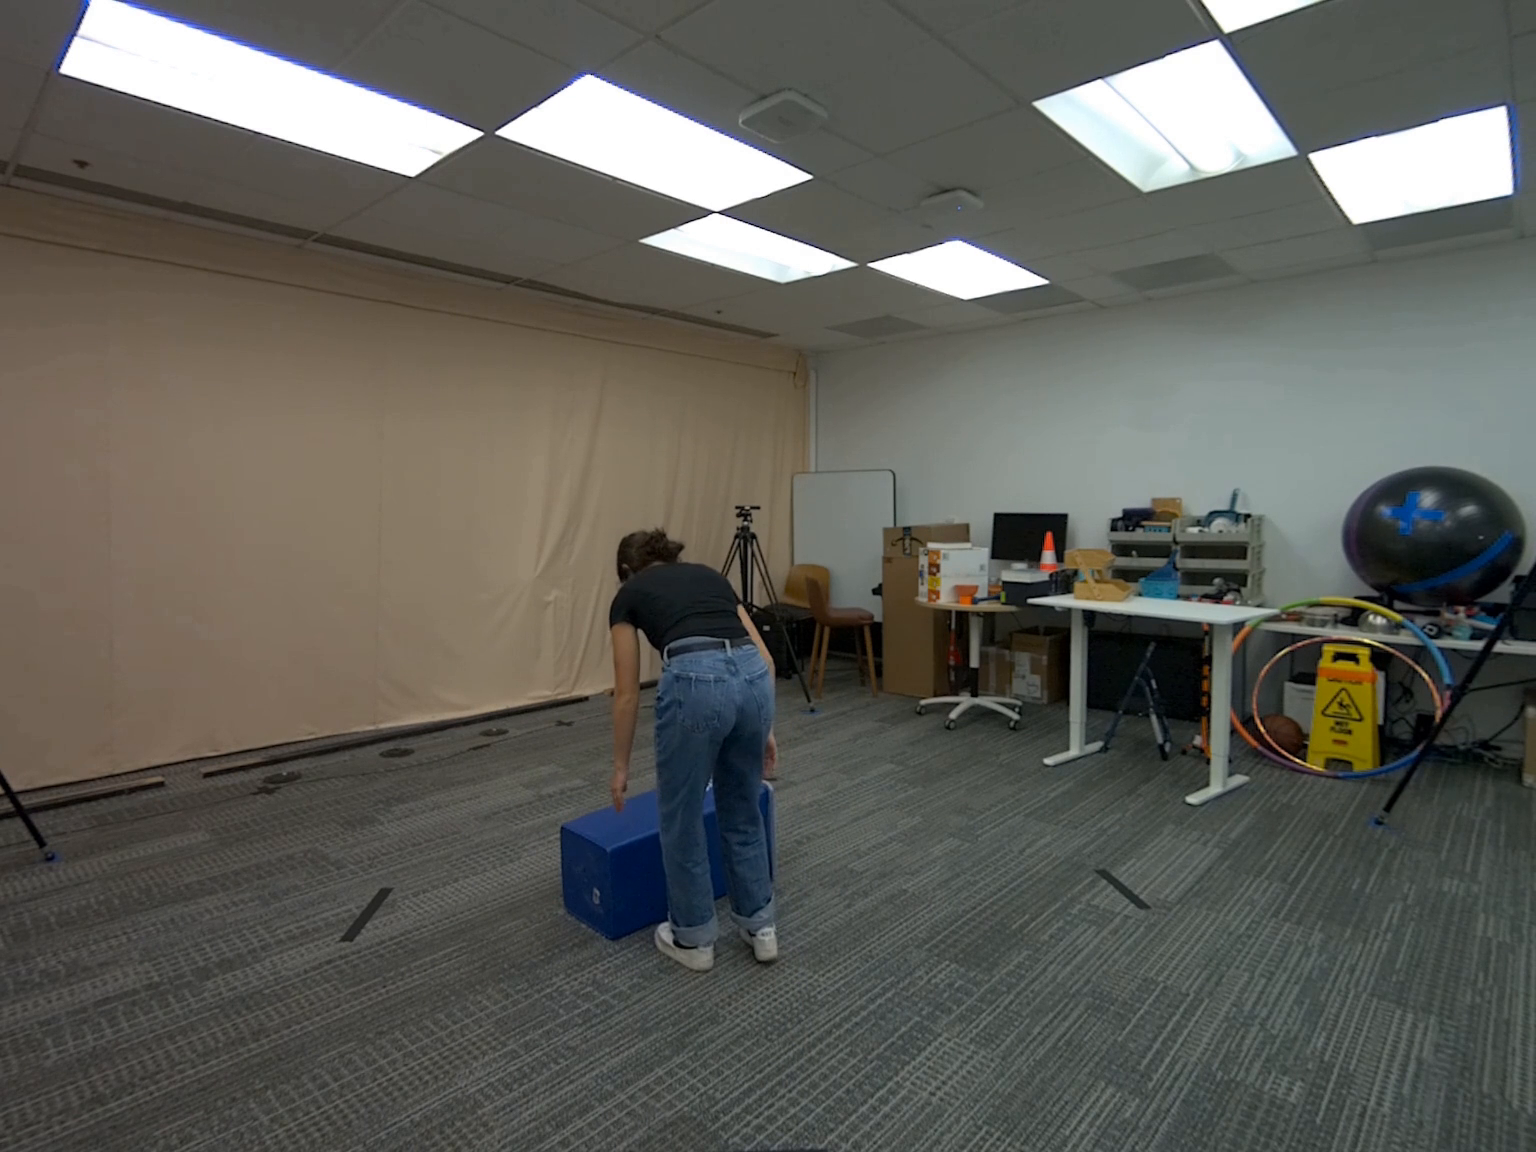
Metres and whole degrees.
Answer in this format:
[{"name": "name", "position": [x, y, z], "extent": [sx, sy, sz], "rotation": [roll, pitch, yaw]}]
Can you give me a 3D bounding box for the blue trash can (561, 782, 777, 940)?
[{"name": "blue trash can", "position": [-0.356, 0.982, 3.018], "extent": [0.693, 0.372, 0.391], "rotation": [-8, 9, -41]}]
